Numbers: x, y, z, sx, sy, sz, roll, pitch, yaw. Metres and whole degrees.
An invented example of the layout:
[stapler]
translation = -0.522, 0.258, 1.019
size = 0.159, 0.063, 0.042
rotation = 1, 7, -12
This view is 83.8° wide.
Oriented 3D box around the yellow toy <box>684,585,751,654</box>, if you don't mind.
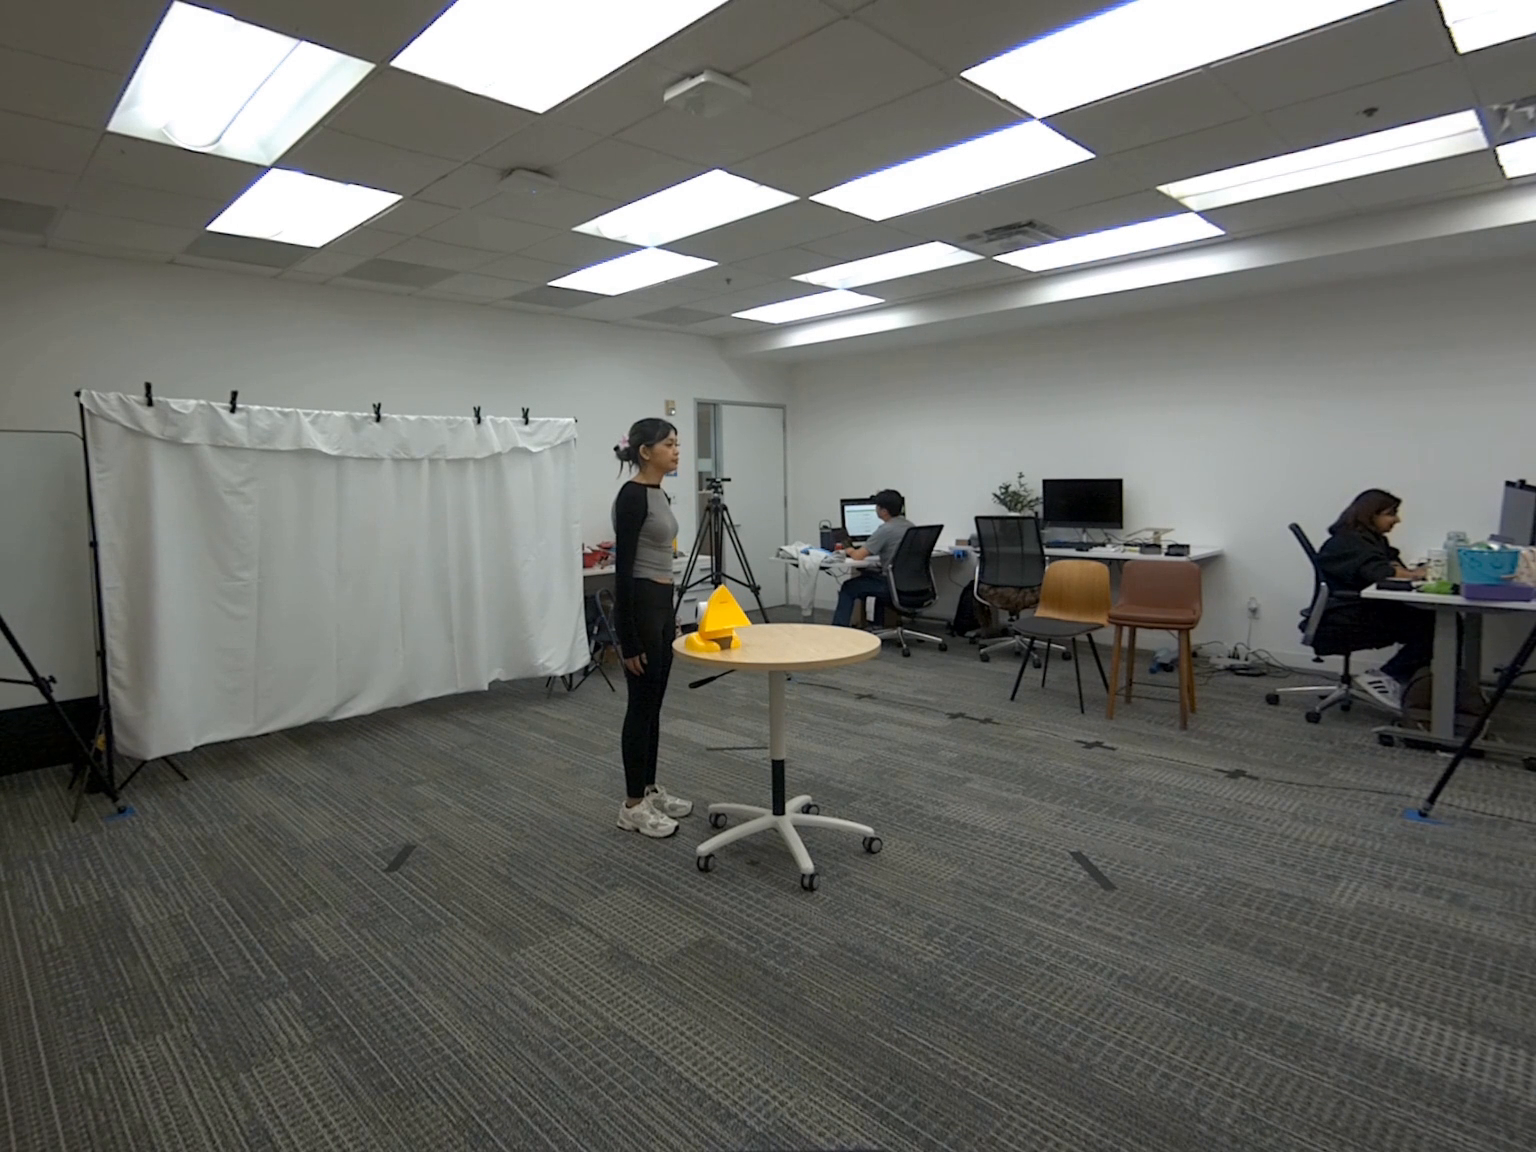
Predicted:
[yellow toy]
translation = -0.195, 0.143, 3.076
size = 0.199, 0.230, 0.199
rotation = -5, 5, -39
